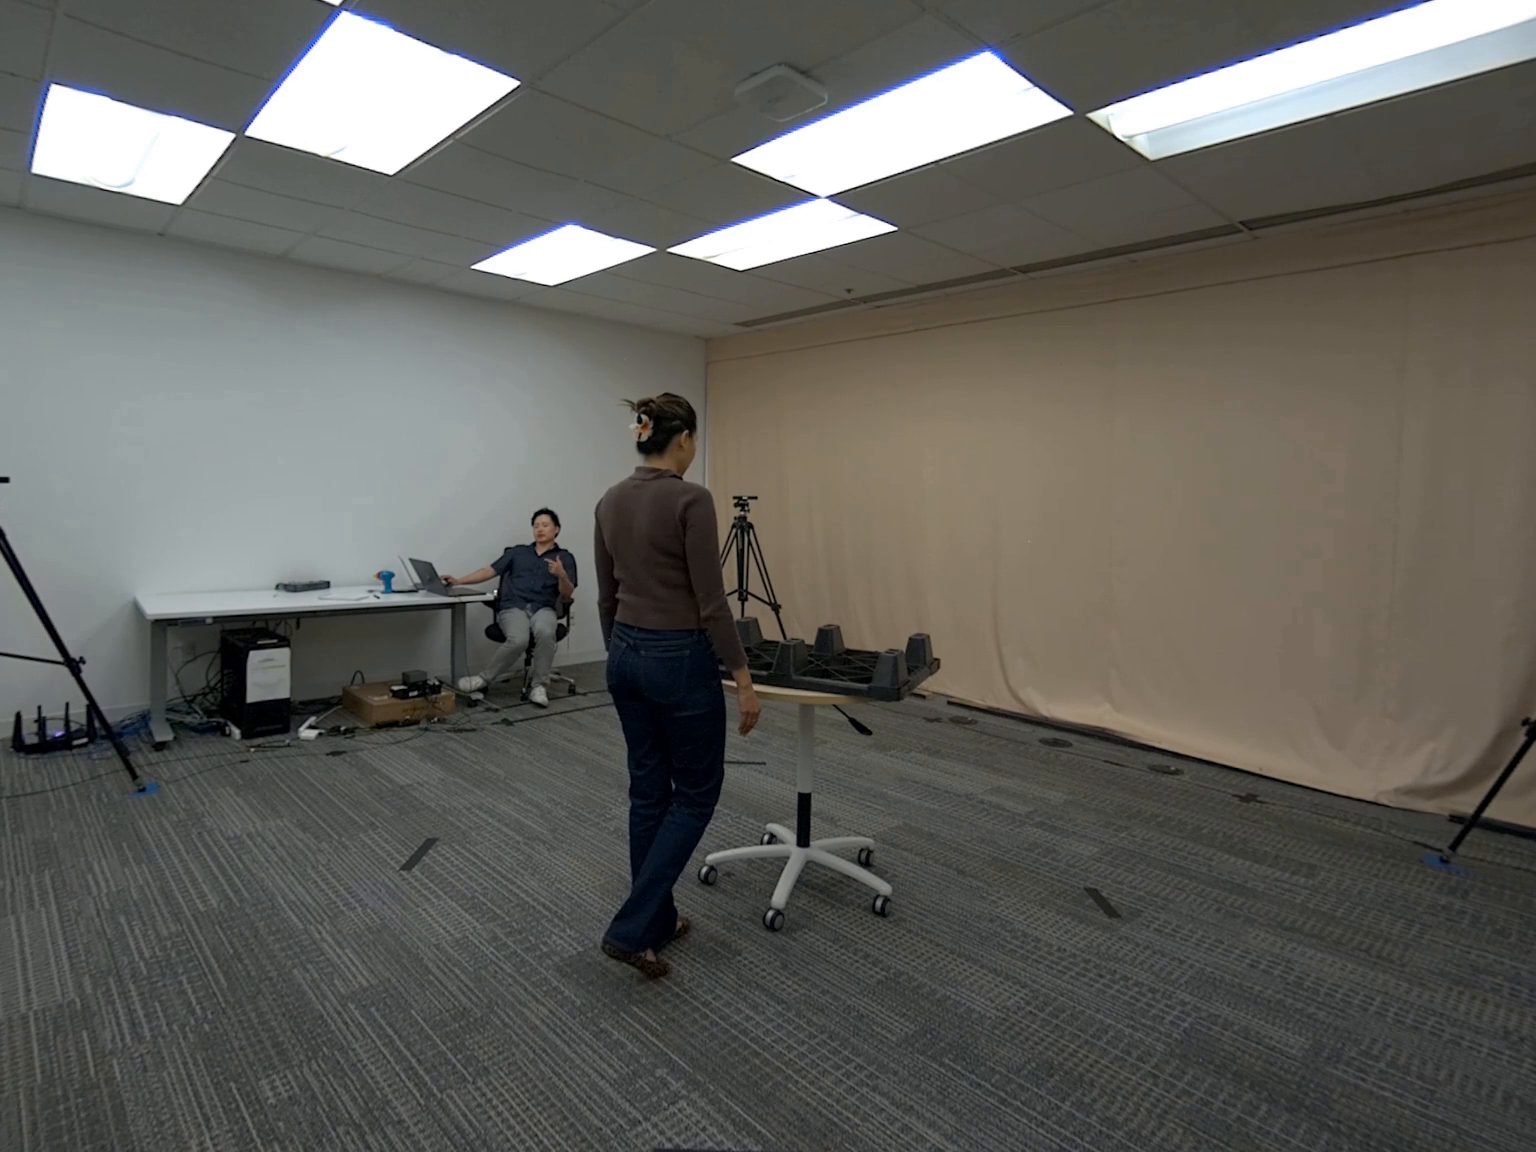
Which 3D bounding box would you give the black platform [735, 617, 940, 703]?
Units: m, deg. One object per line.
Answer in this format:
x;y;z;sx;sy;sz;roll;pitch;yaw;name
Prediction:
0.143;0.272;2.988;0.821;0.143;0.596;3;6;24;black platform
